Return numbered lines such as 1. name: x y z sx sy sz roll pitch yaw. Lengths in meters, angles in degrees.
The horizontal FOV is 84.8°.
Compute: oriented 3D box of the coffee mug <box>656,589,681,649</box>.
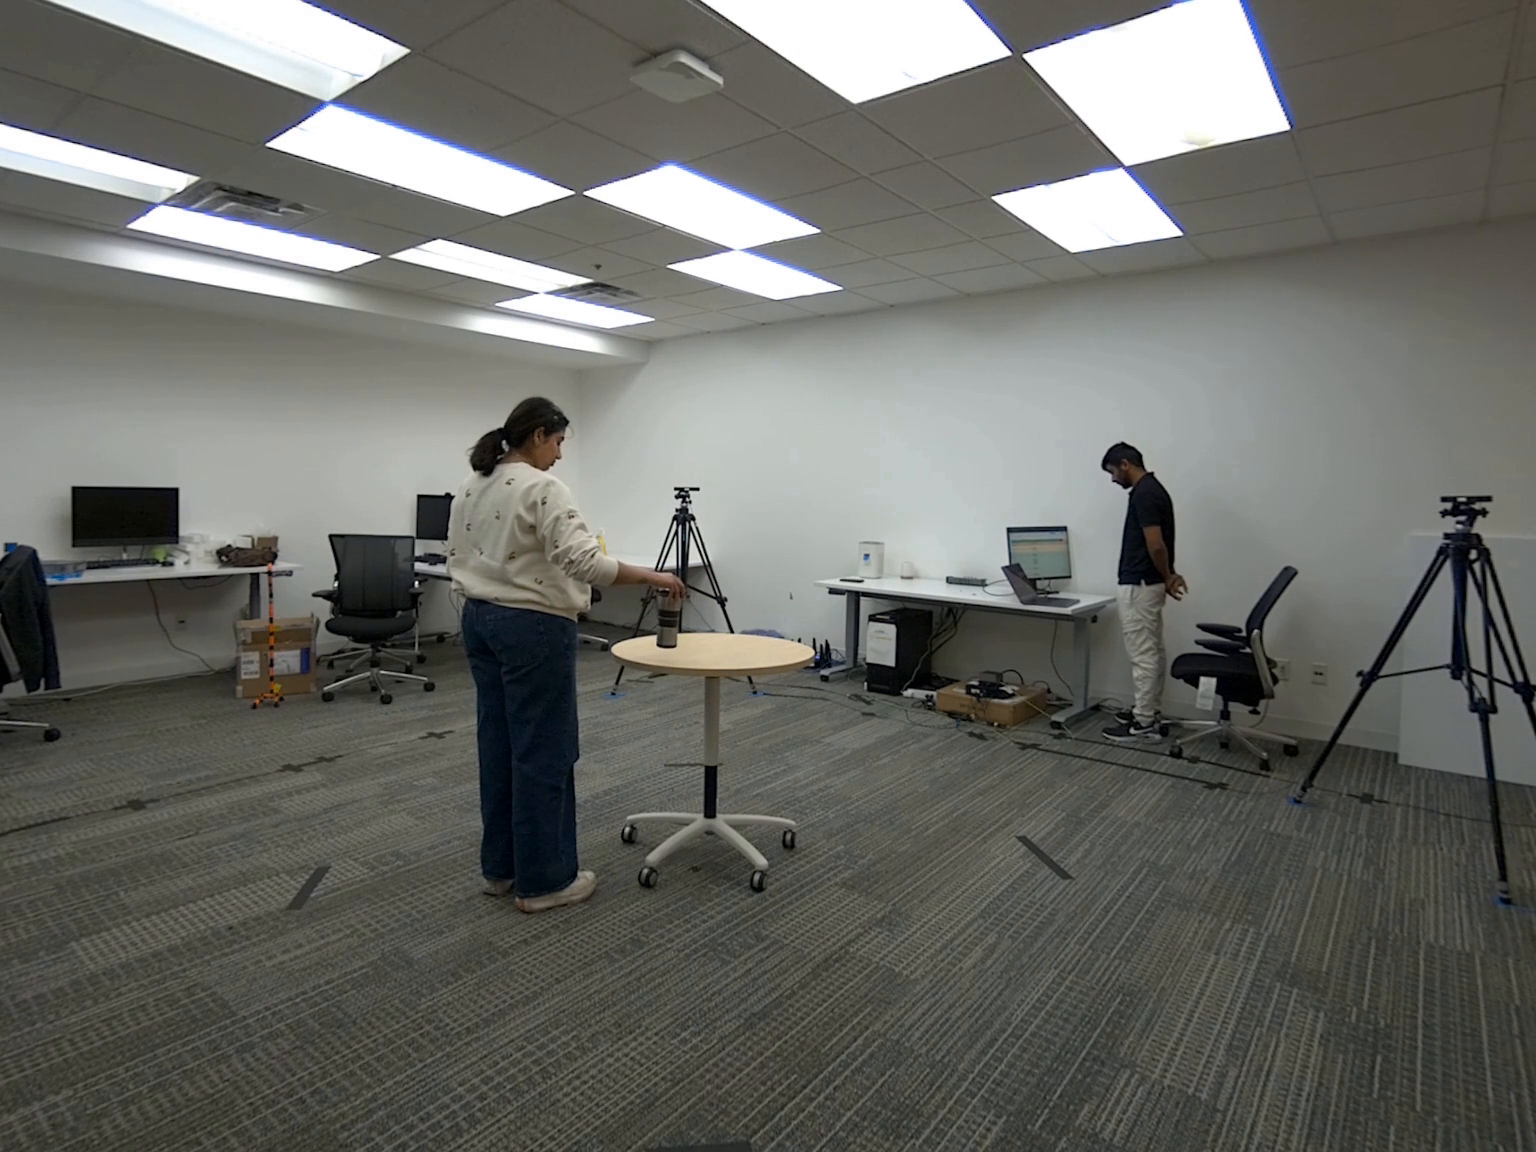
1. coffee mug: -0.340 0.143 2.952 0.090 0.202 0.119 3 7 26
